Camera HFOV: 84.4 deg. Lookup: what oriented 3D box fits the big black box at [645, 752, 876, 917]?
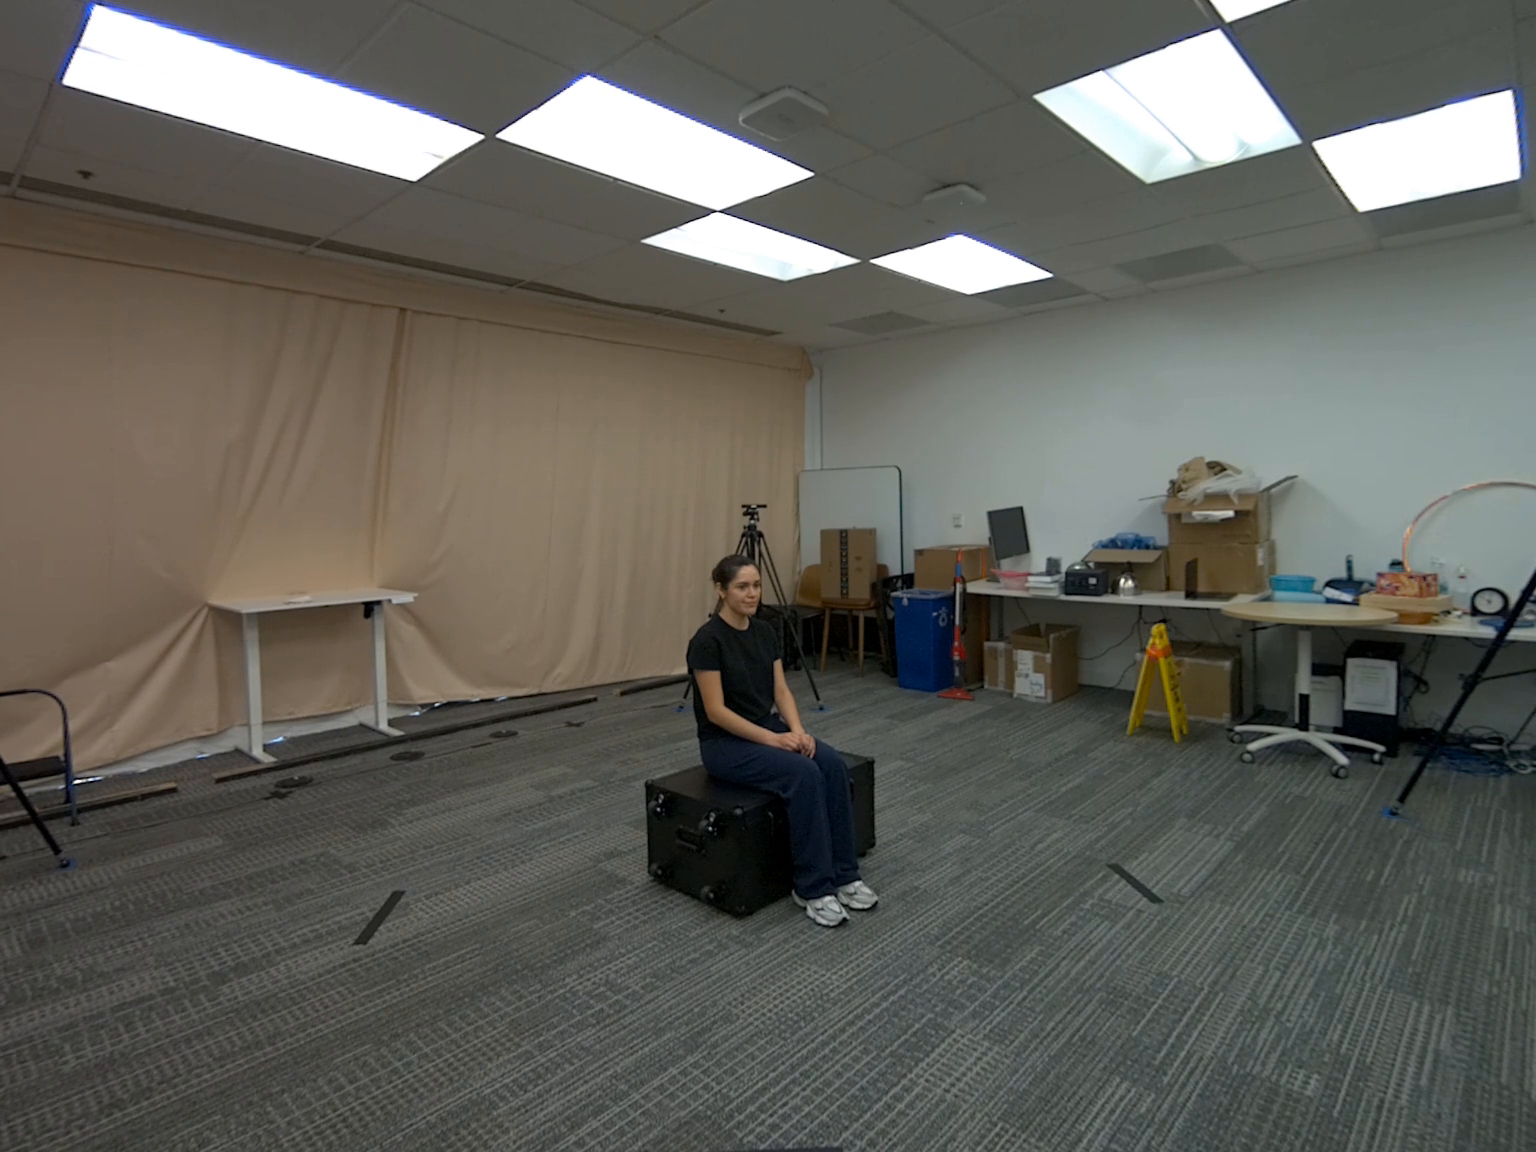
[{"bbox_3d":[-0.023,0.932,3.217,0.538,0.395,0.835,2,5,43],"label":"big black box"}]
